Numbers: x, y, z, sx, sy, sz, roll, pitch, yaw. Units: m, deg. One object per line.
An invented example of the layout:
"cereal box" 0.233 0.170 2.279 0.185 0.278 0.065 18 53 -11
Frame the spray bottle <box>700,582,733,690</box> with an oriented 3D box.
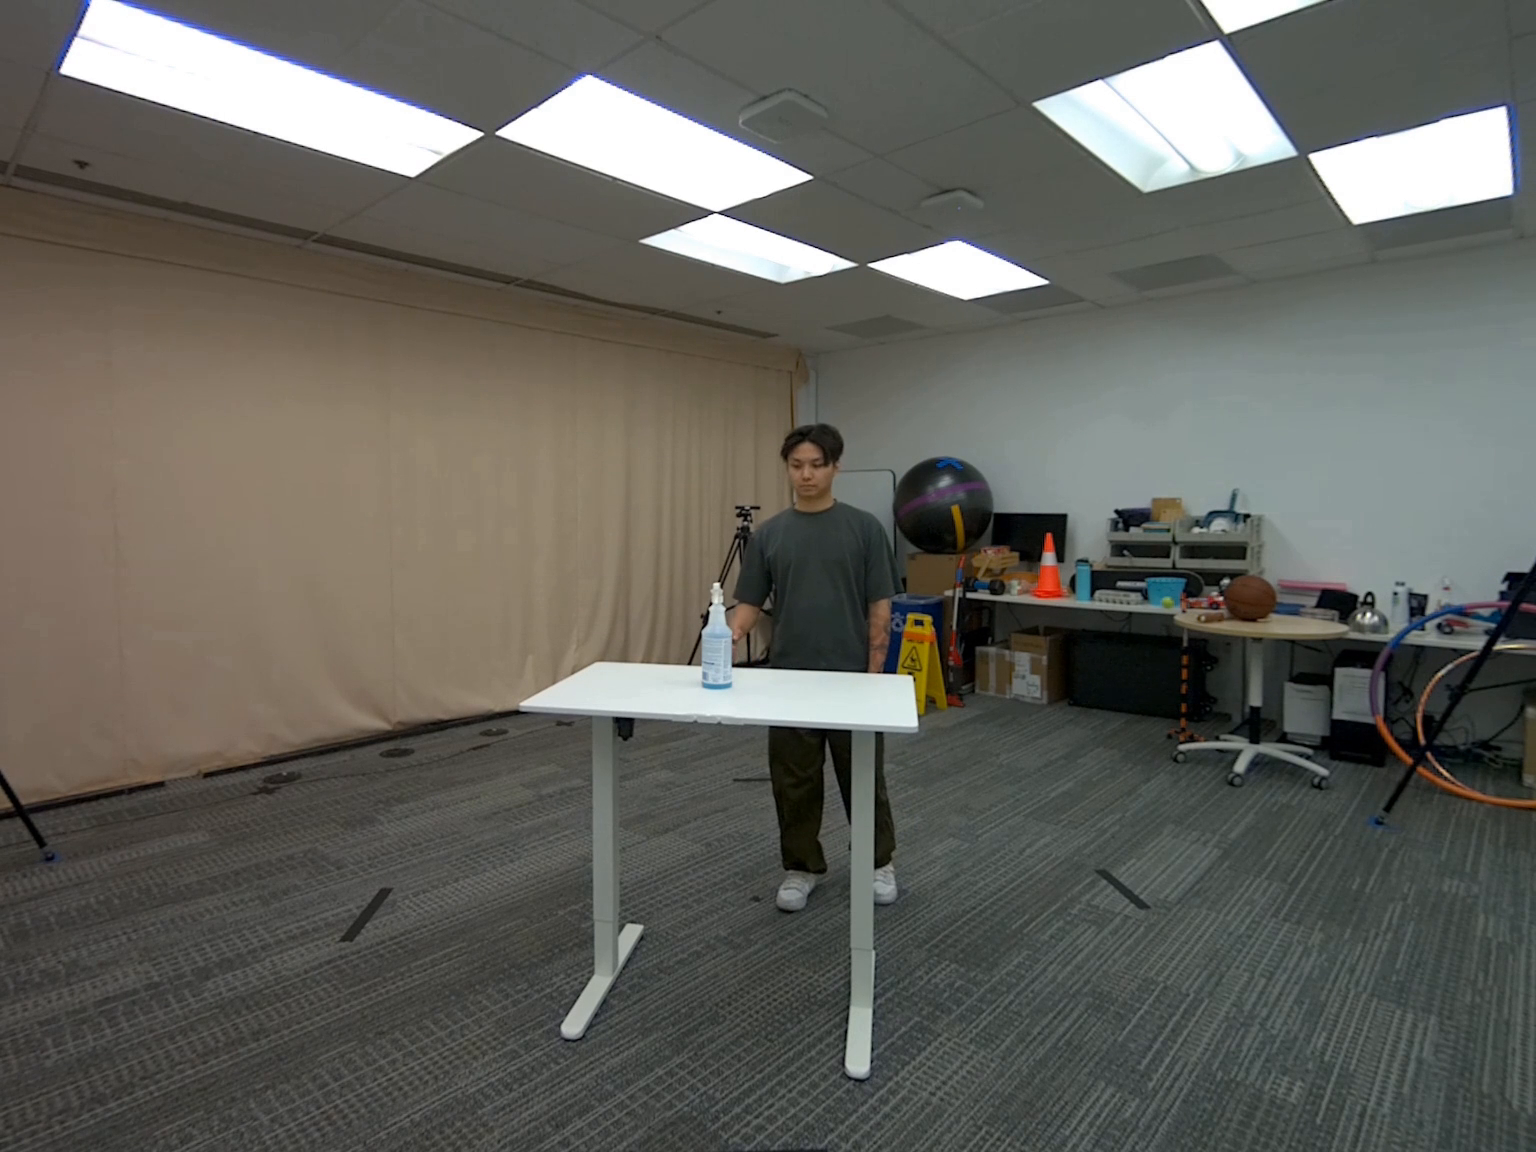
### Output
"spray bottle" -0.144 0.168 2.375 0.089 0.296 0.088 2 5 27
